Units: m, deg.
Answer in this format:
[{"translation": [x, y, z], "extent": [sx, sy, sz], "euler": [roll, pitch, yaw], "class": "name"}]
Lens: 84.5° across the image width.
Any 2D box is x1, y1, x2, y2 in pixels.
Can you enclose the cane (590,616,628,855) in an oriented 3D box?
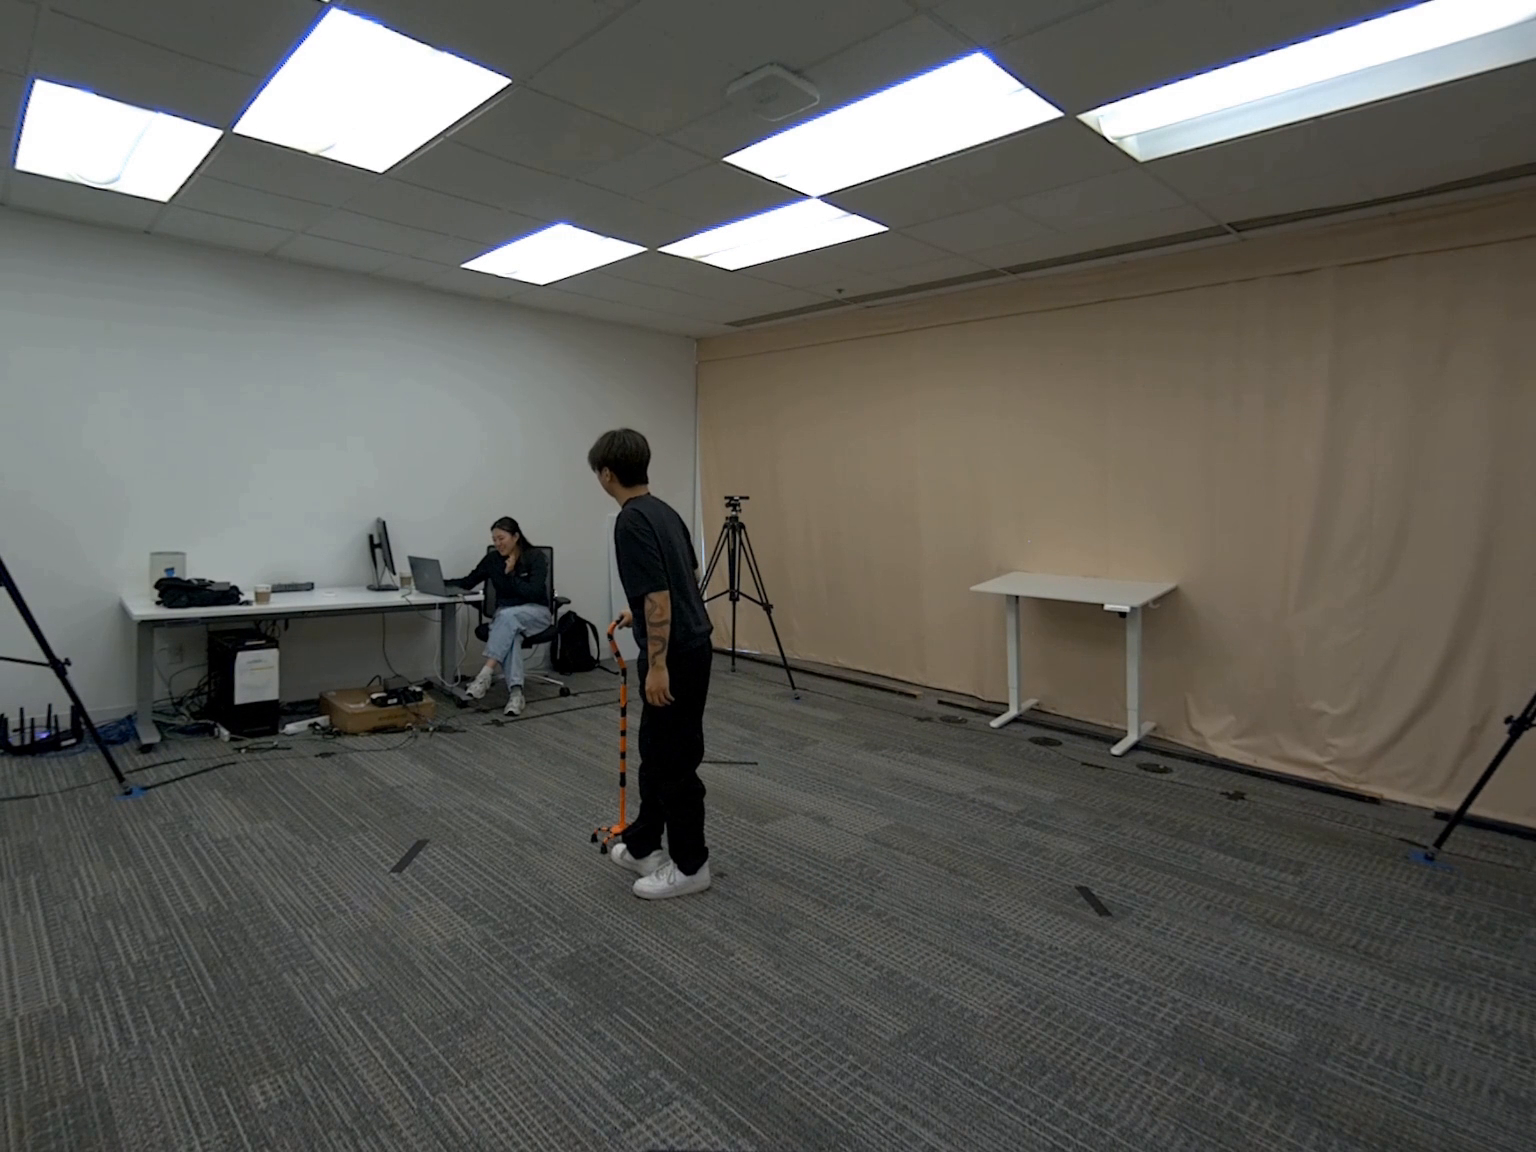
[{"translation": [-0.589, 0.616, 3.347], "extent": [0.202, 0.907, 0.155], "euler": [-1, 2, -31], "class": "cane"}]
